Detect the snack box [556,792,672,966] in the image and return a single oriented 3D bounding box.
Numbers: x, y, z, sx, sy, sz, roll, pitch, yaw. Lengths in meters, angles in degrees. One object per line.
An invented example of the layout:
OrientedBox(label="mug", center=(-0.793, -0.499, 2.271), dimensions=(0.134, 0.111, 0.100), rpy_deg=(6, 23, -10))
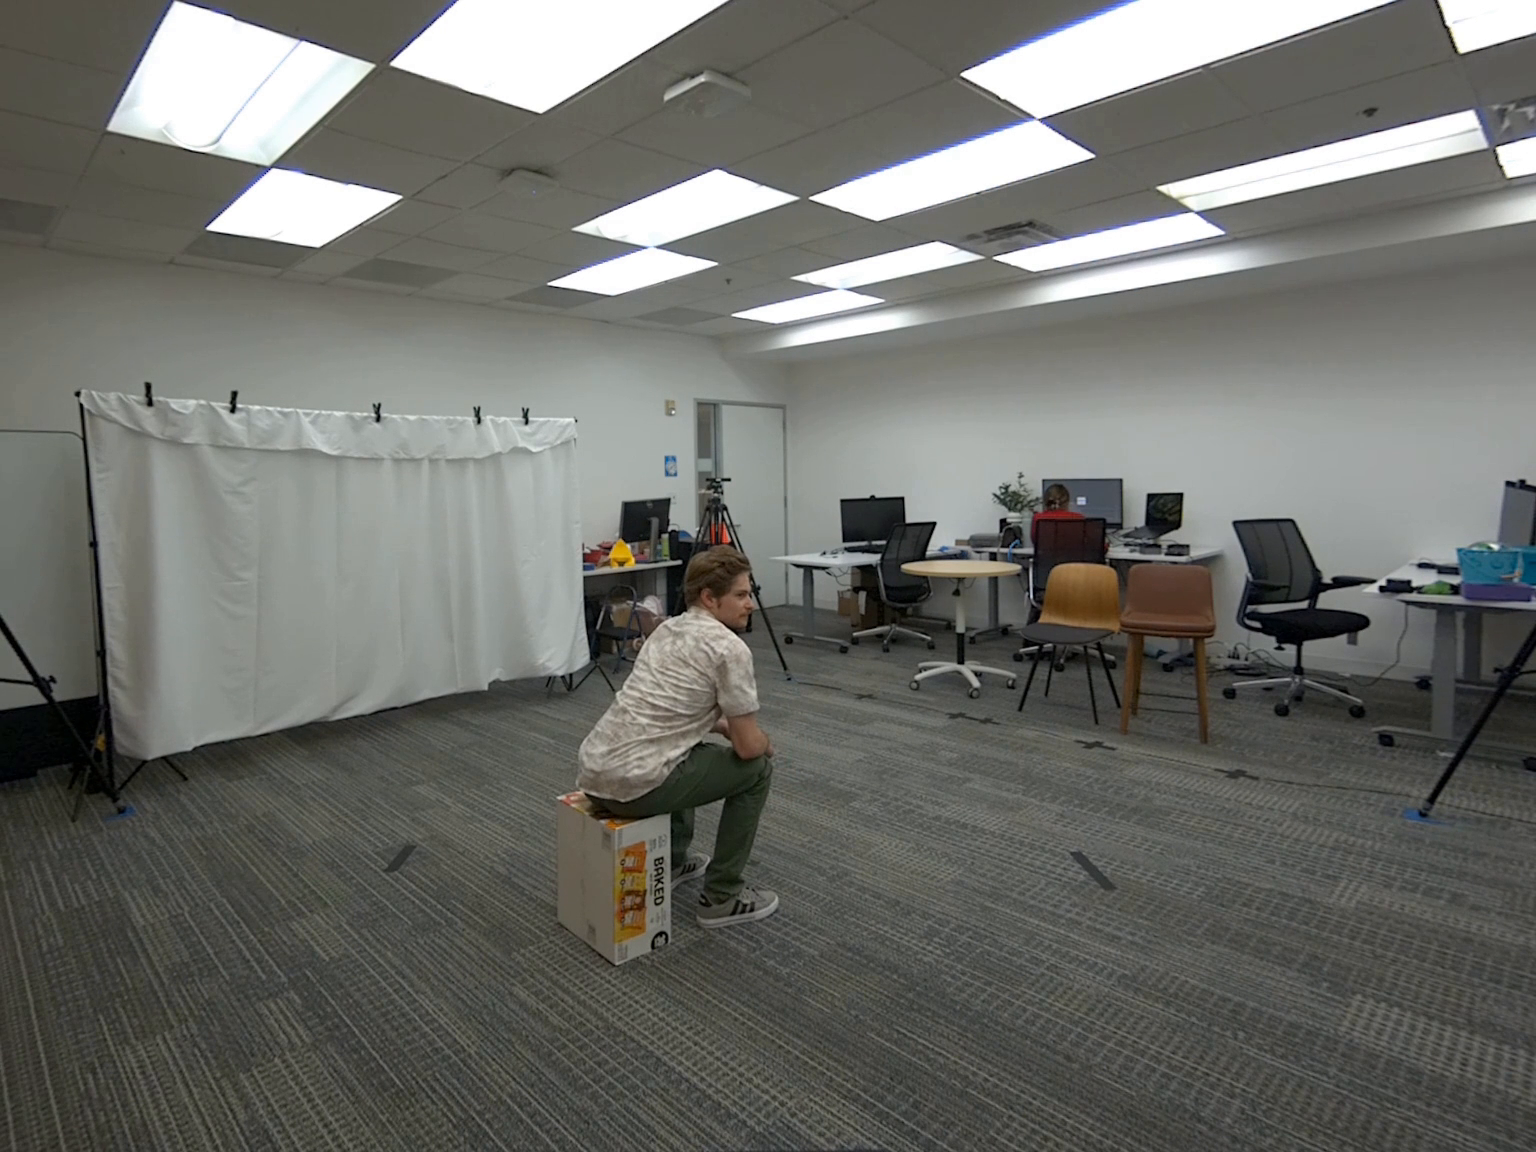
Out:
OrientedBox(label="snack box", center=(-0.480, 0.906, 2.640), dimensions=(0.200, 0.404, 0.351), rpy_deg=(-3, 5, -42))
